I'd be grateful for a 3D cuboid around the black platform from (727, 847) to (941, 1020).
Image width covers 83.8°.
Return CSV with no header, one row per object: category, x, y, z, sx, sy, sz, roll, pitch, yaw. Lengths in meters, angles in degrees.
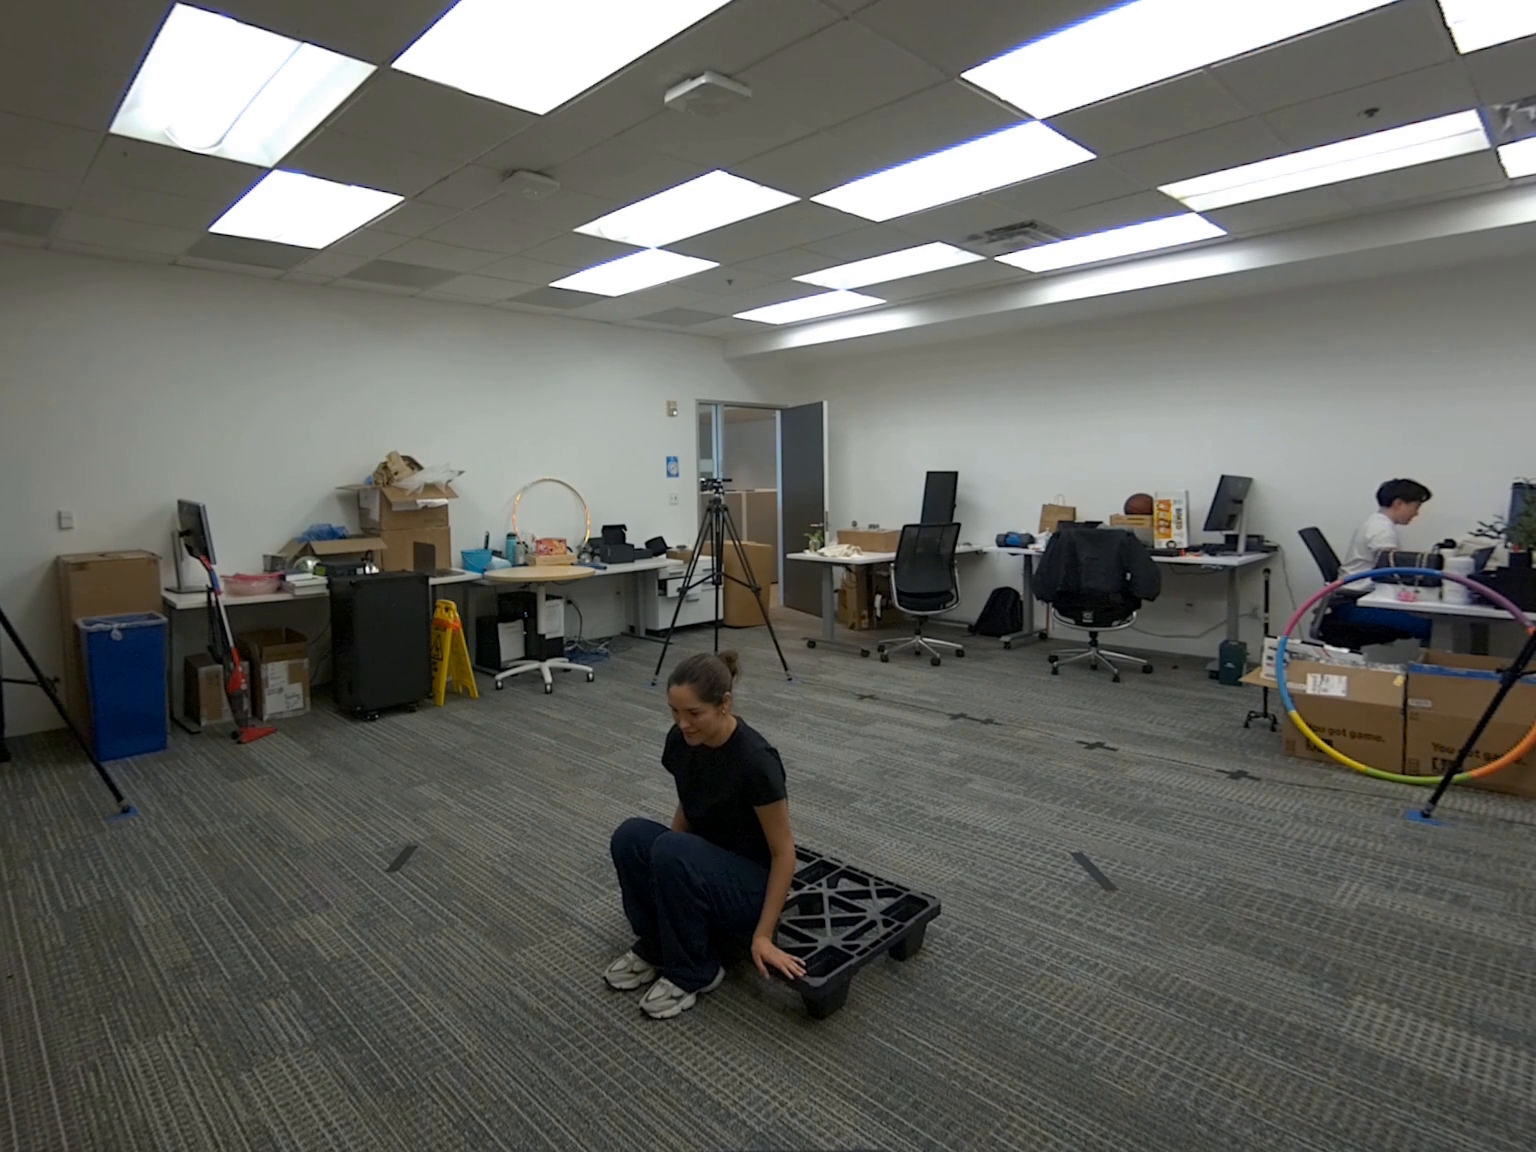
black platform,0.032,1.029,2.644,0.831,0.143,0.589,6,8,44
